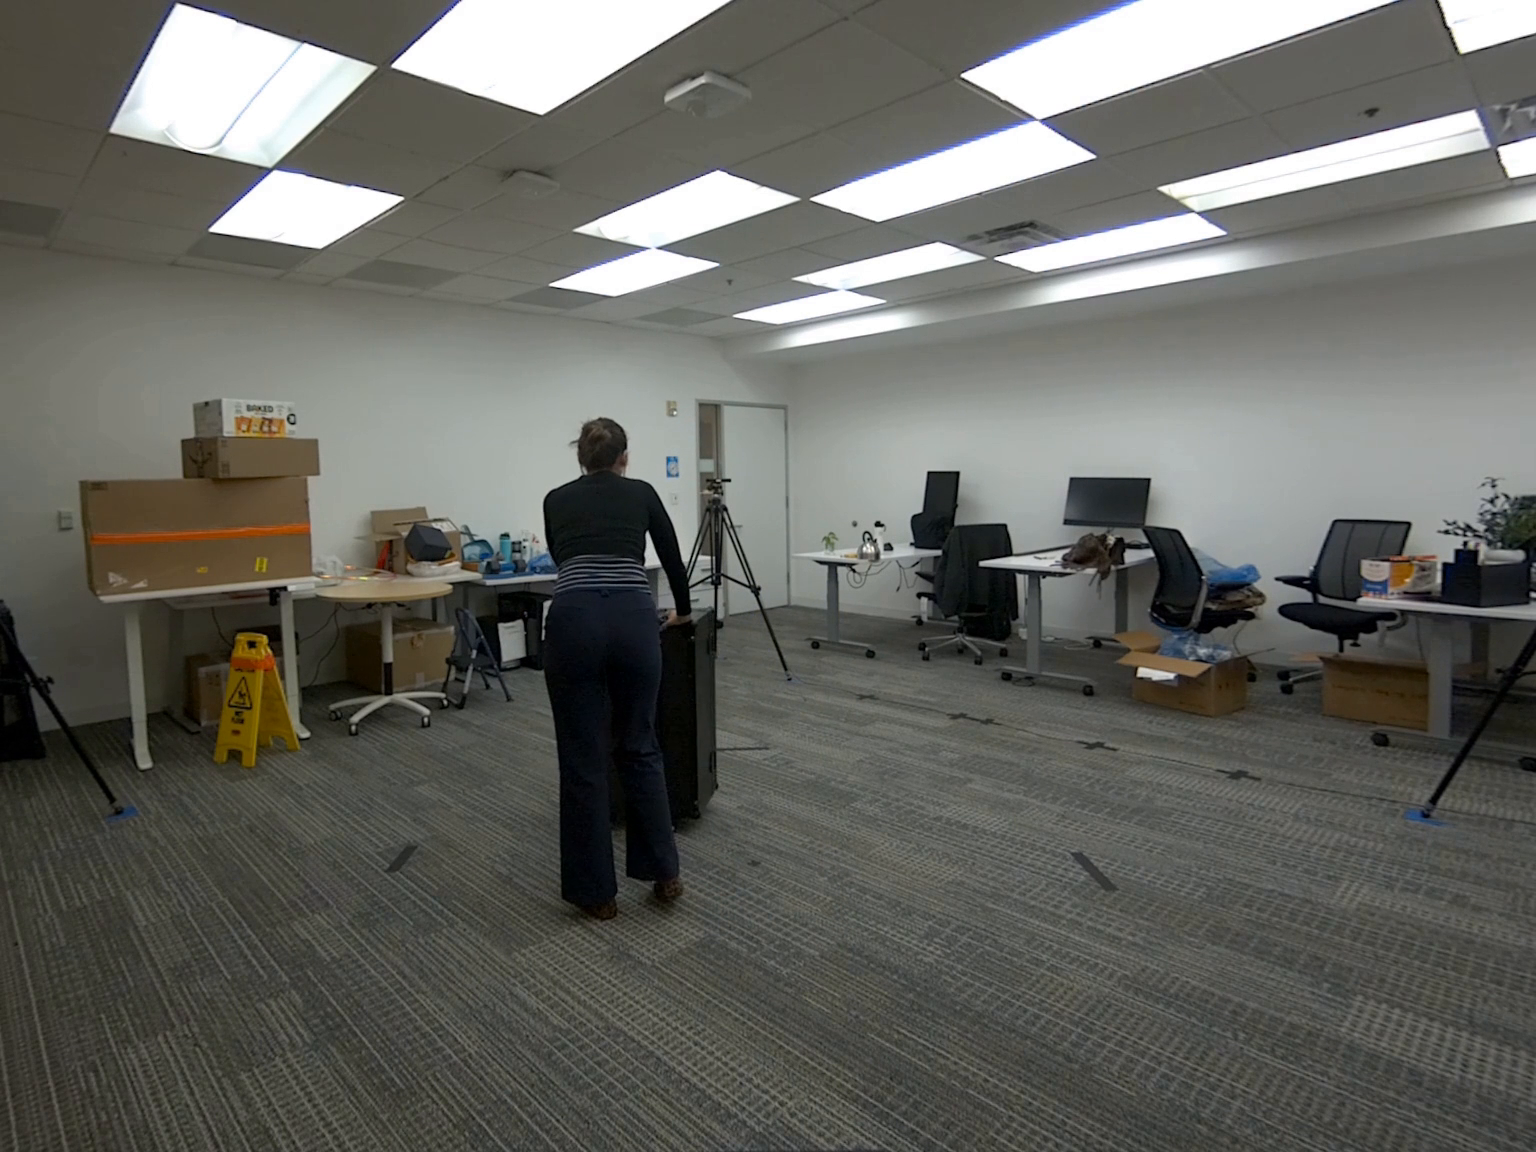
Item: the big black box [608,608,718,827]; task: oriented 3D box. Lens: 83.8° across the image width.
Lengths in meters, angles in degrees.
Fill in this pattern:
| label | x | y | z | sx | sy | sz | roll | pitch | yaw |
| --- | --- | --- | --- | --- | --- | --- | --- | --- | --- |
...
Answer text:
| label | x | y | z | sx | sy | sz | roll | pitch | yaw |
| --- | --- | --- | --- | --- | --- | --- | --- | --- | --- |
| big black box | -0.481 | 0.580 | 3.522 | 0.527 | 0.858 | 0.394 | 0 | 4 | 10 |
